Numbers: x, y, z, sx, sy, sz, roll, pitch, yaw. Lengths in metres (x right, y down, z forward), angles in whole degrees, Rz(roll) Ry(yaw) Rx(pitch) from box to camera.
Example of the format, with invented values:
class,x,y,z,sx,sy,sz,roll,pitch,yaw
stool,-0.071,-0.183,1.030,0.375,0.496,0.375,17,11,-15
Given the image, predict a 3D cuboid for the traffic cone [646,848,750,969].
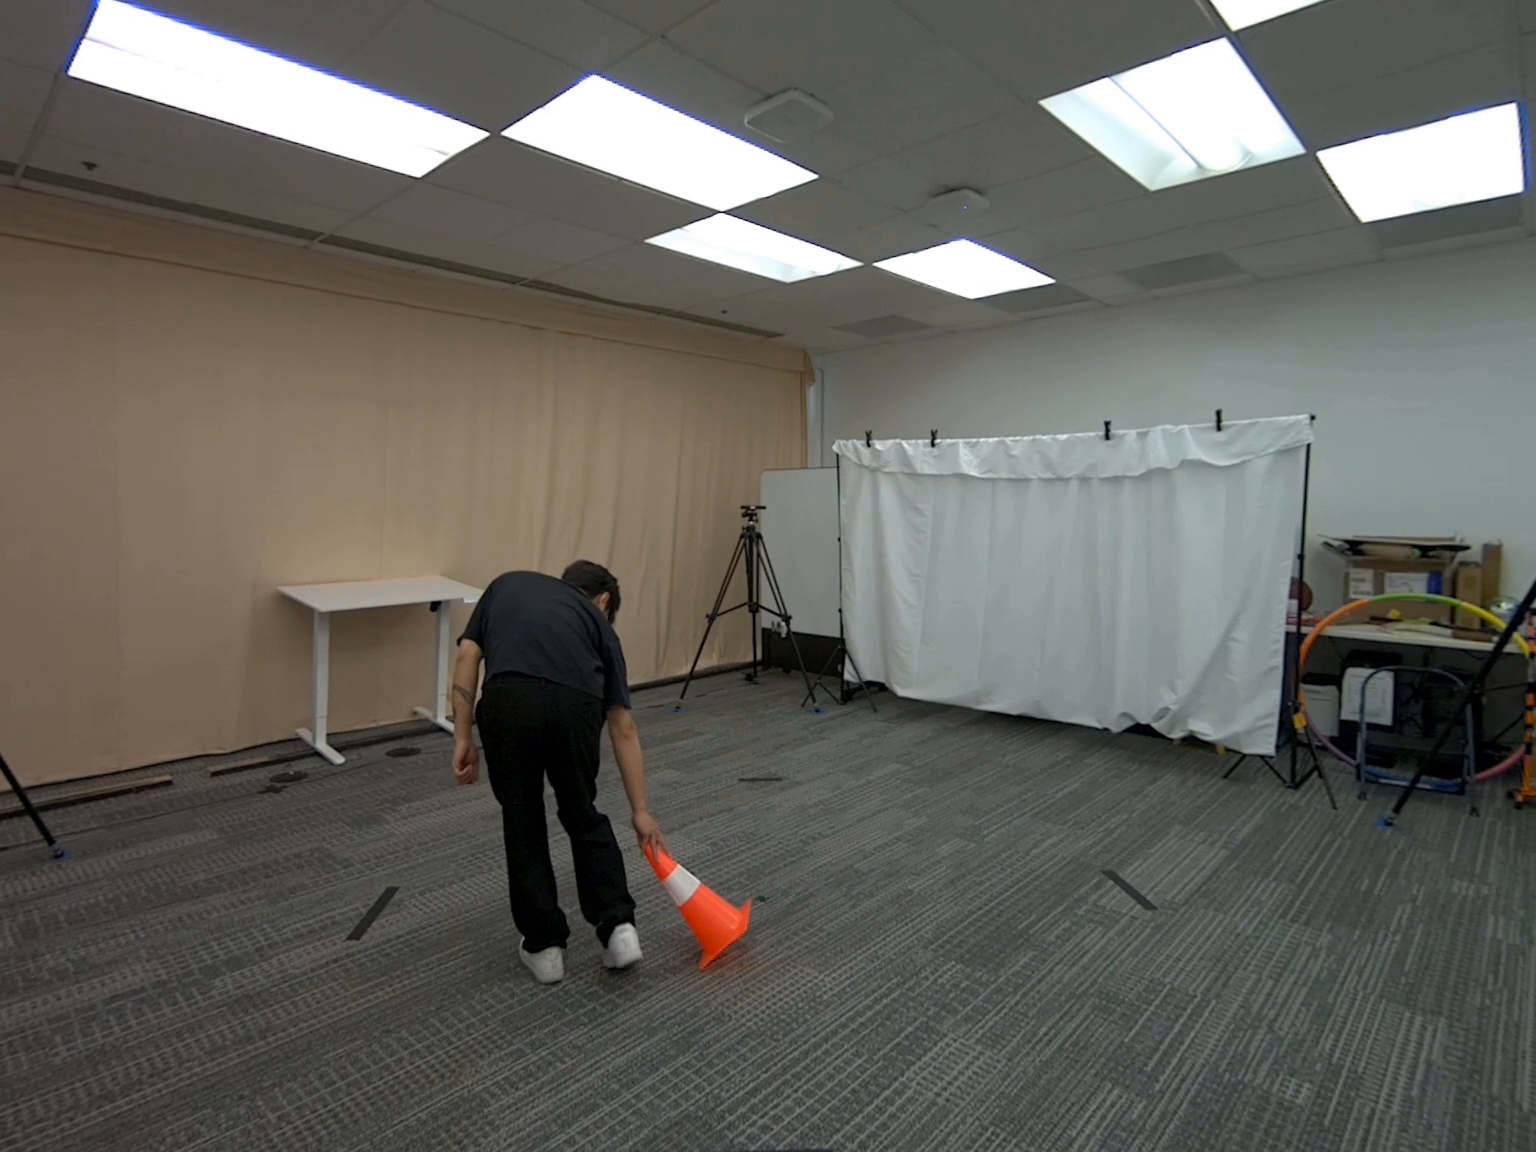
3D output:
class,x,y,z,sx,sy,sz,roll,pitch,yaw
traffic cone,-0.255,0.974,2.603,0.205,0.385,0.202,-44,-2,7
